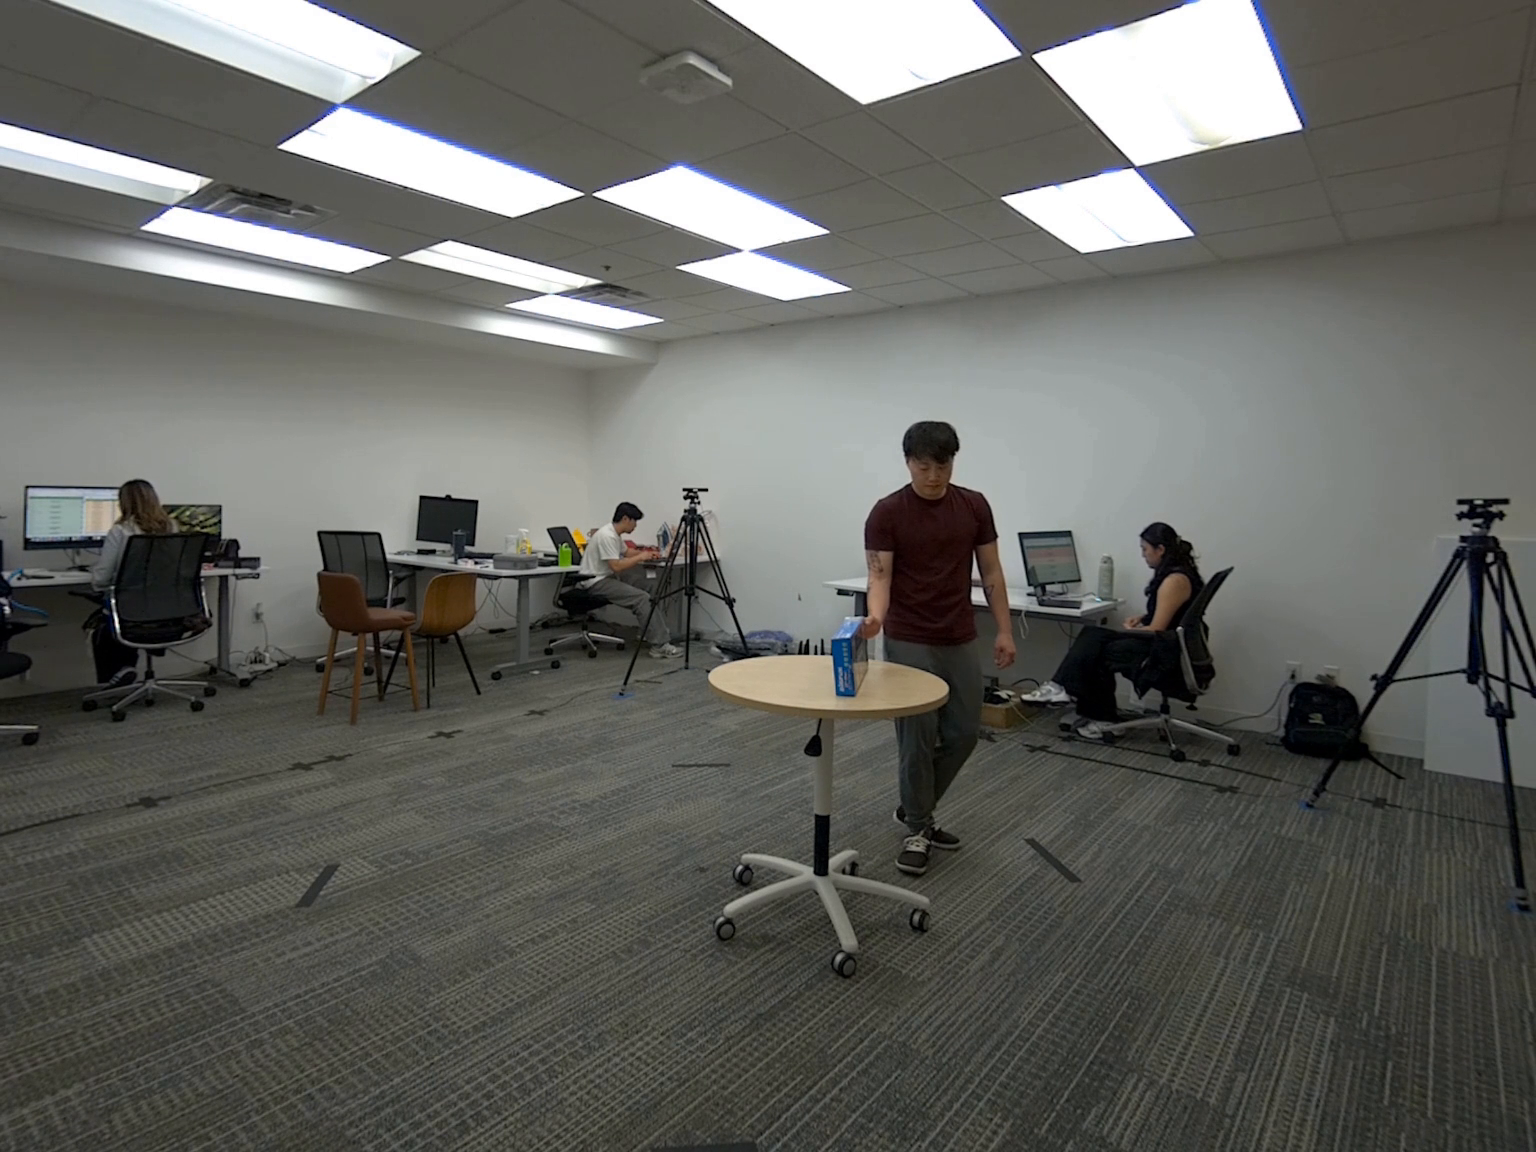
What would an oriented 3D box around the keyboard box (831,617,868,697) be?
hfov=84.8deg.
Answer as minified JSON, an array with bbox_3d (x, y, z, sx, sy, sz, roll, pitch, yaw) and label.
[{"bbox_3d":[0.262,0.248,2.724,0.060,0.175,0.432,-5,5,12],"label":"keyboard box"}]
